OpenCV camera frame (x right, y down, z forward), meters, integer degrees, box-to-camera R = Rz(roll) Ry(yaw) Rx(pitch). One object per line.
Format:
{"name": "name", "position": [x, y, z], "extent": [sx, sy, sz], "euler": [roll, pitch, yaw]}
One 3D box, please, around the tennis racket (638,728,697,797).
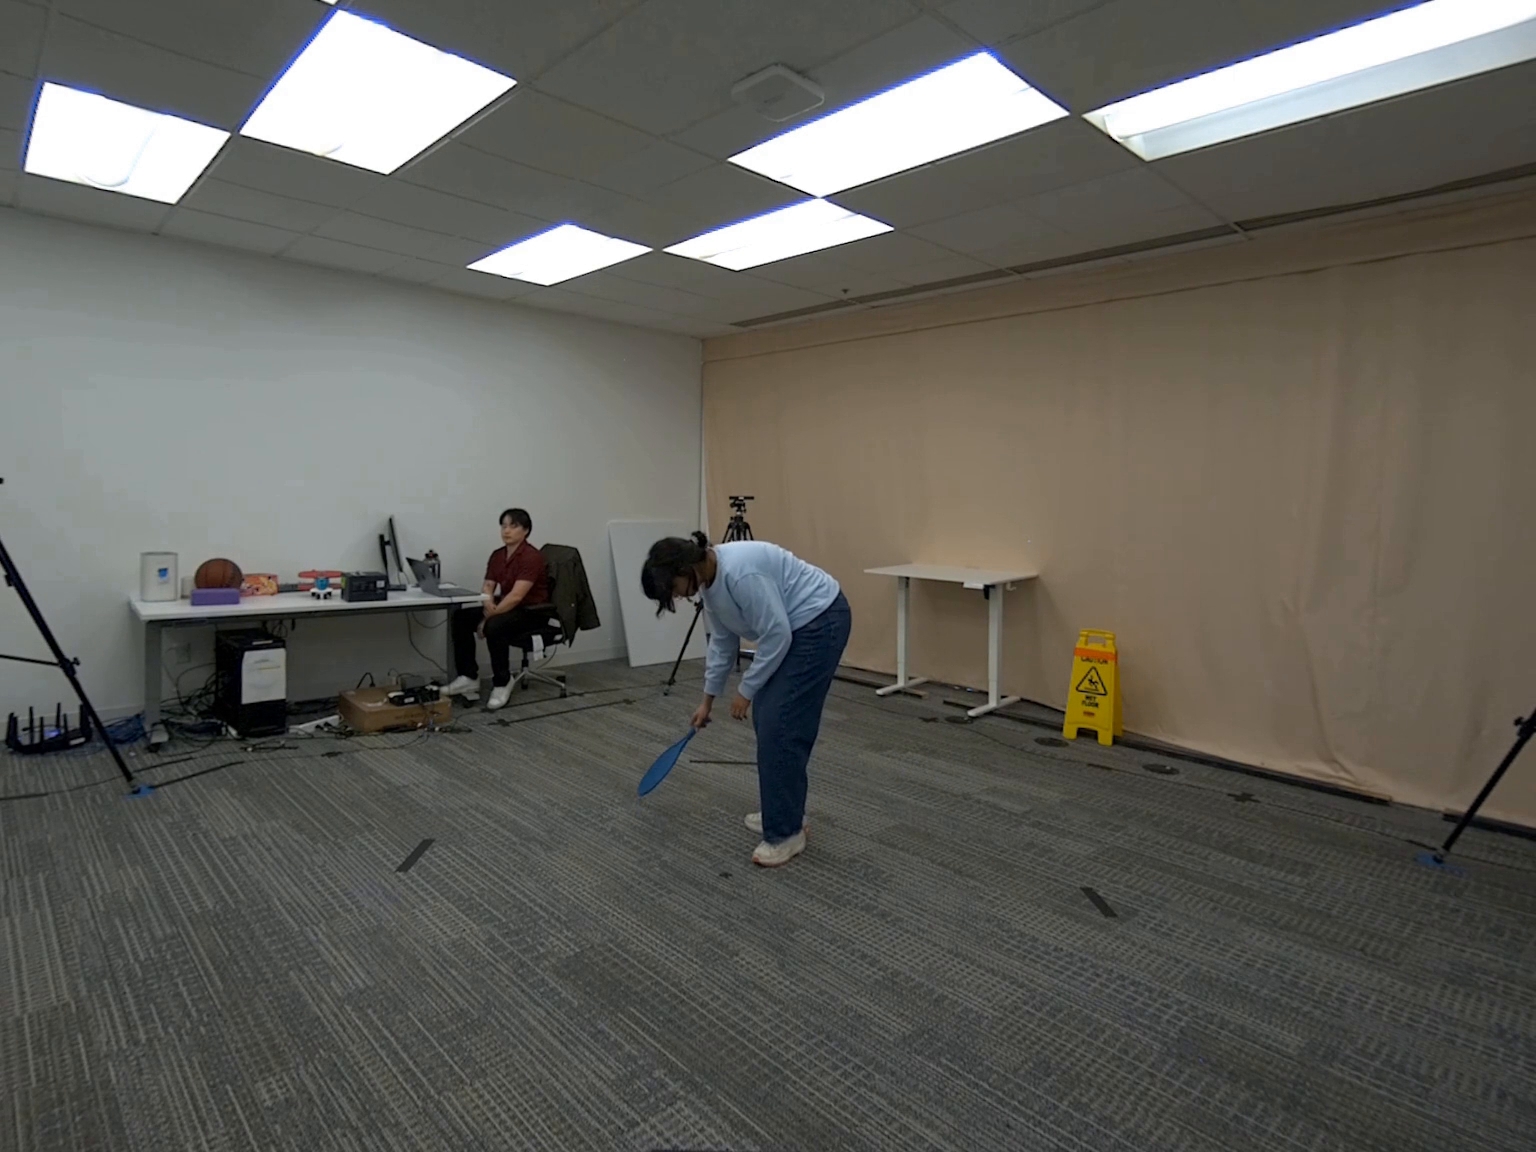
{"name": "tennis racket", "position": [-0.408, 0.777, 3.553], "extent": [0.031, 0.433, 0.217], "euler": [43, -7, -16]}
